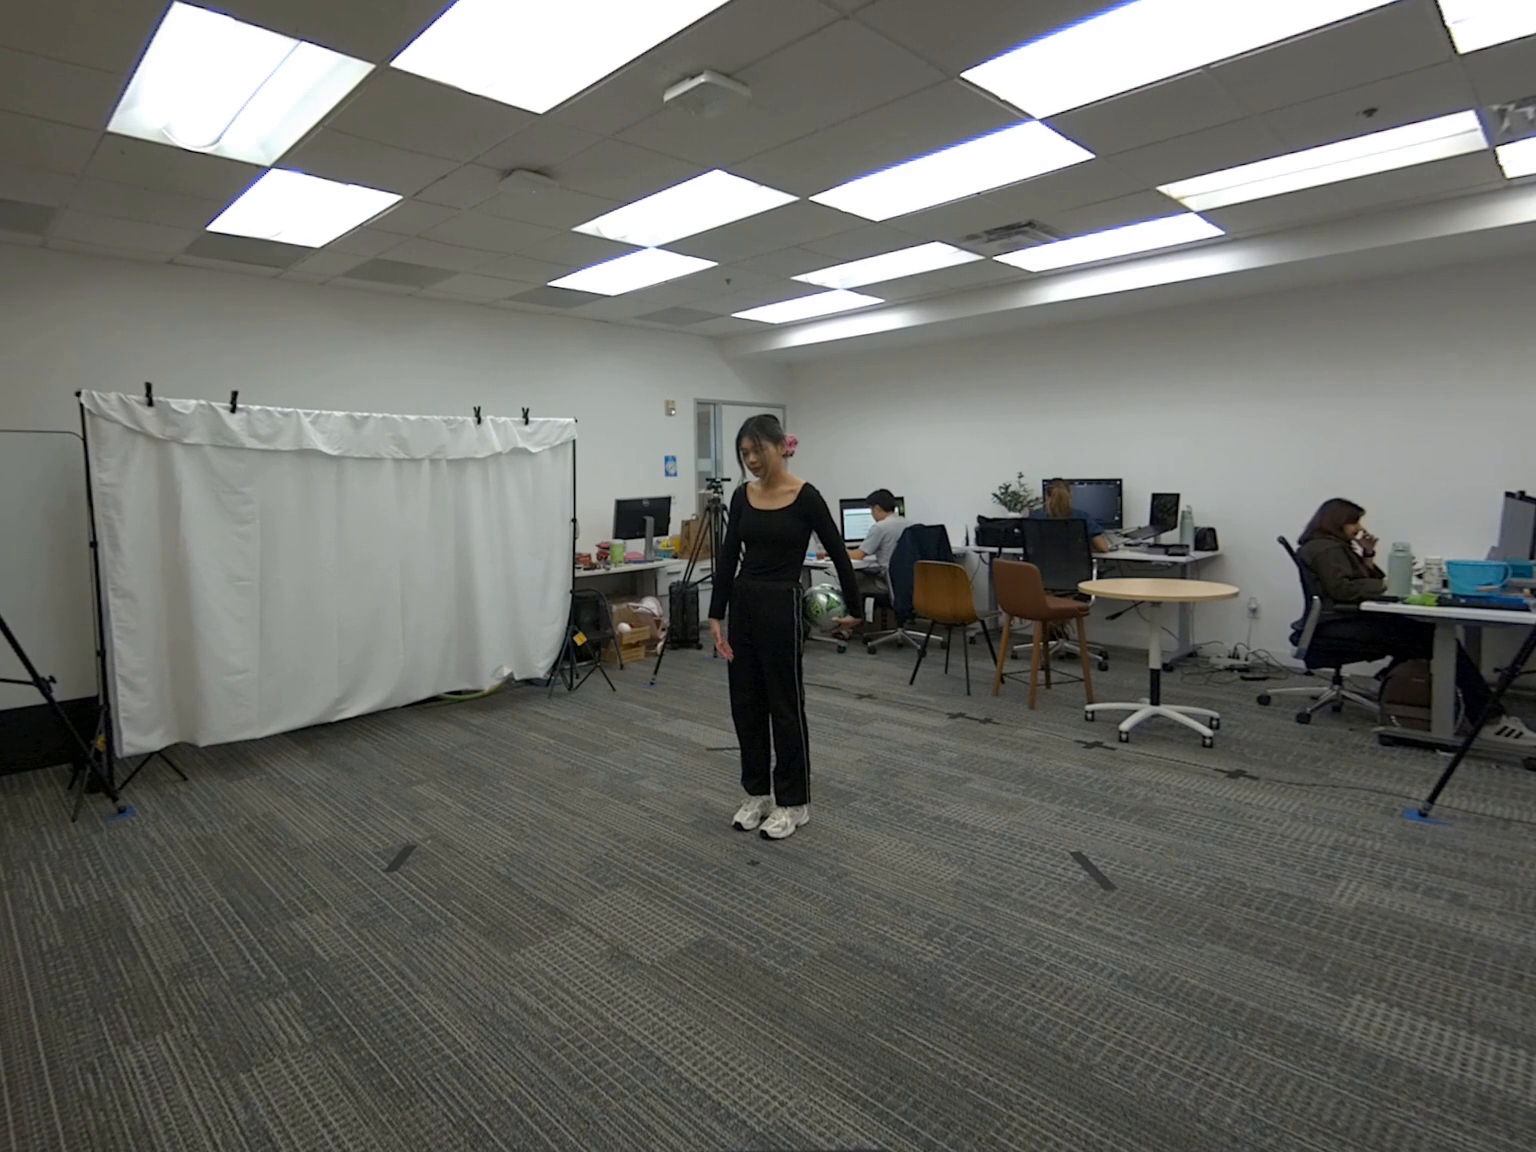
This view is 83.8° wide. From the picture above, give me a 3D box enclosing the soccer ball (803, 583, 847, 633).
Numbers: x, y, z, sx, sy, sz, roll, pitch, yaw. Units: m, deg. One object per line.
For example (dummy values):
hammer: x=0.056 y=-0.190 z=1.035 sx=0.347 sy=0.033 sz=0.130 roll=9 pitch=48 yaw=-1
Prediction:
soccer ball: x=0.225 y=0.126 z=3.407 sx=0.187 sy=0.187 sz=0.188 roll=-1 pitch=5 yaw=-2
